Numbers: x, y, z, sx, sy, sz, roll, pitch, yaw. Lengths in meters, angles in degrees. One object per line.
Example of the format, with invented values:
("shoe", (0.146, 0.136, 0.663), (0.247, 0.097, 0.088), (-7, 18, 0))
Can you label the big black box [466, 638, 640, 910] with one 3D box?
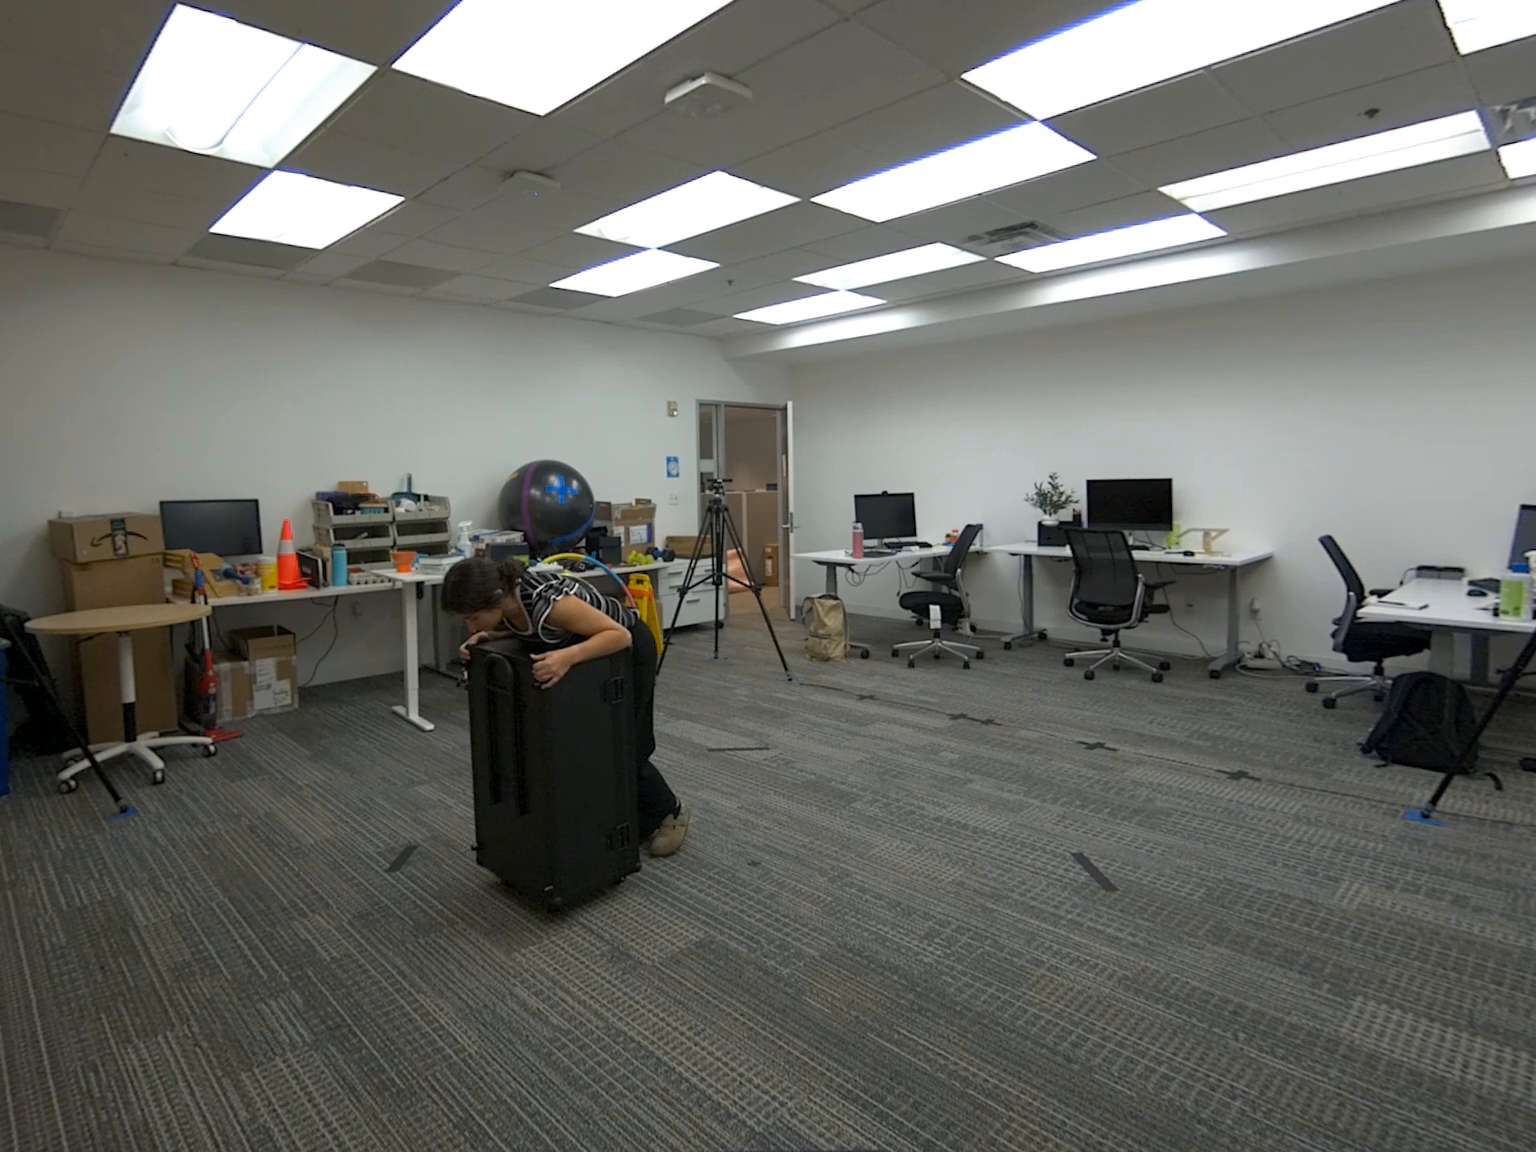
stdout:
("big black box", (-0.739, 0.669, 2.918), (0.537, 0.857, 0.386), (3, 7, 43))
